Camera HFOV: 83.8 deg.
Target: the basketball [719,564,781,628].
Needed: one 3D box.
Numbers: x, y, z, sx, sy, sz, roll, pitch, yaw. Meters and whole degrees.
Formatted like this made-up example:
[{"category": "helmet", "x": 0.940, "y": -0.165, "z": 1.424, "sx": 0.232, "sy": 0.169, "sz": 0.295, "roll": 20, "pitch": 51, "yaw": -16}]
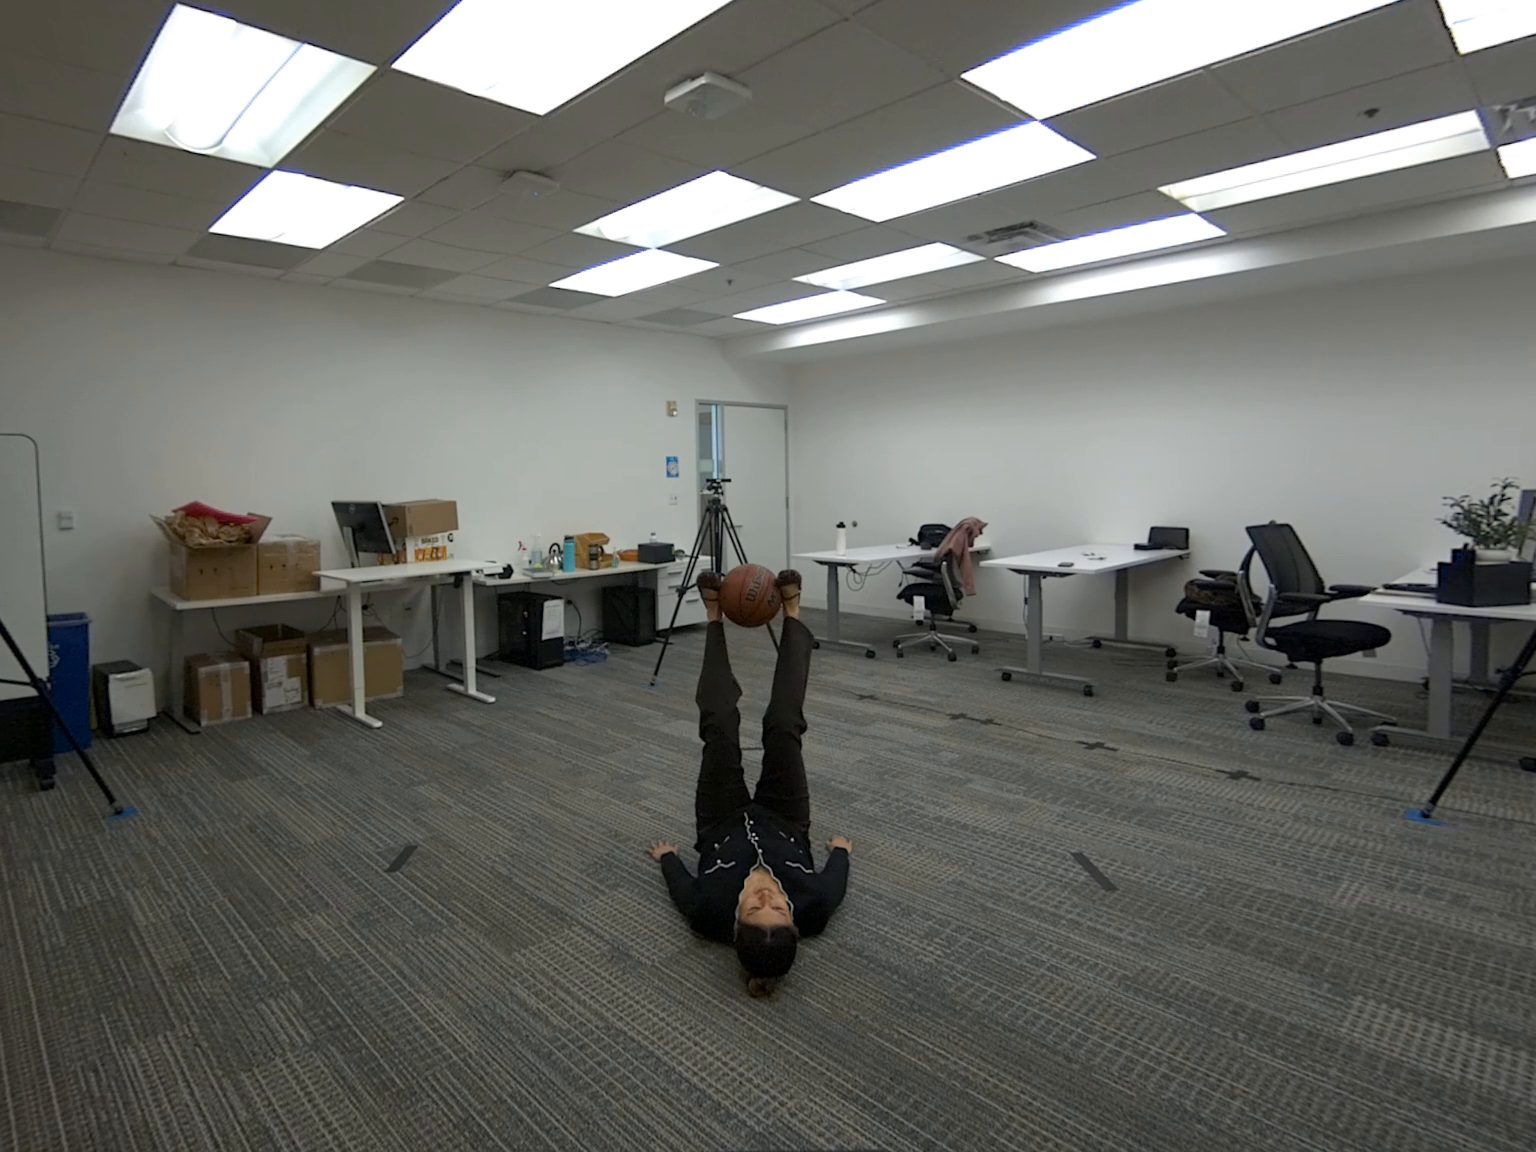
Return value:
[{"category": "basketball", "x": -0.059, "y": 0.079, "z": 3.208, "sx": 0.236, "sy": 0.235, "sz": 0.237, "roll": -4, "pitch": 4, "yaw": -1}]
